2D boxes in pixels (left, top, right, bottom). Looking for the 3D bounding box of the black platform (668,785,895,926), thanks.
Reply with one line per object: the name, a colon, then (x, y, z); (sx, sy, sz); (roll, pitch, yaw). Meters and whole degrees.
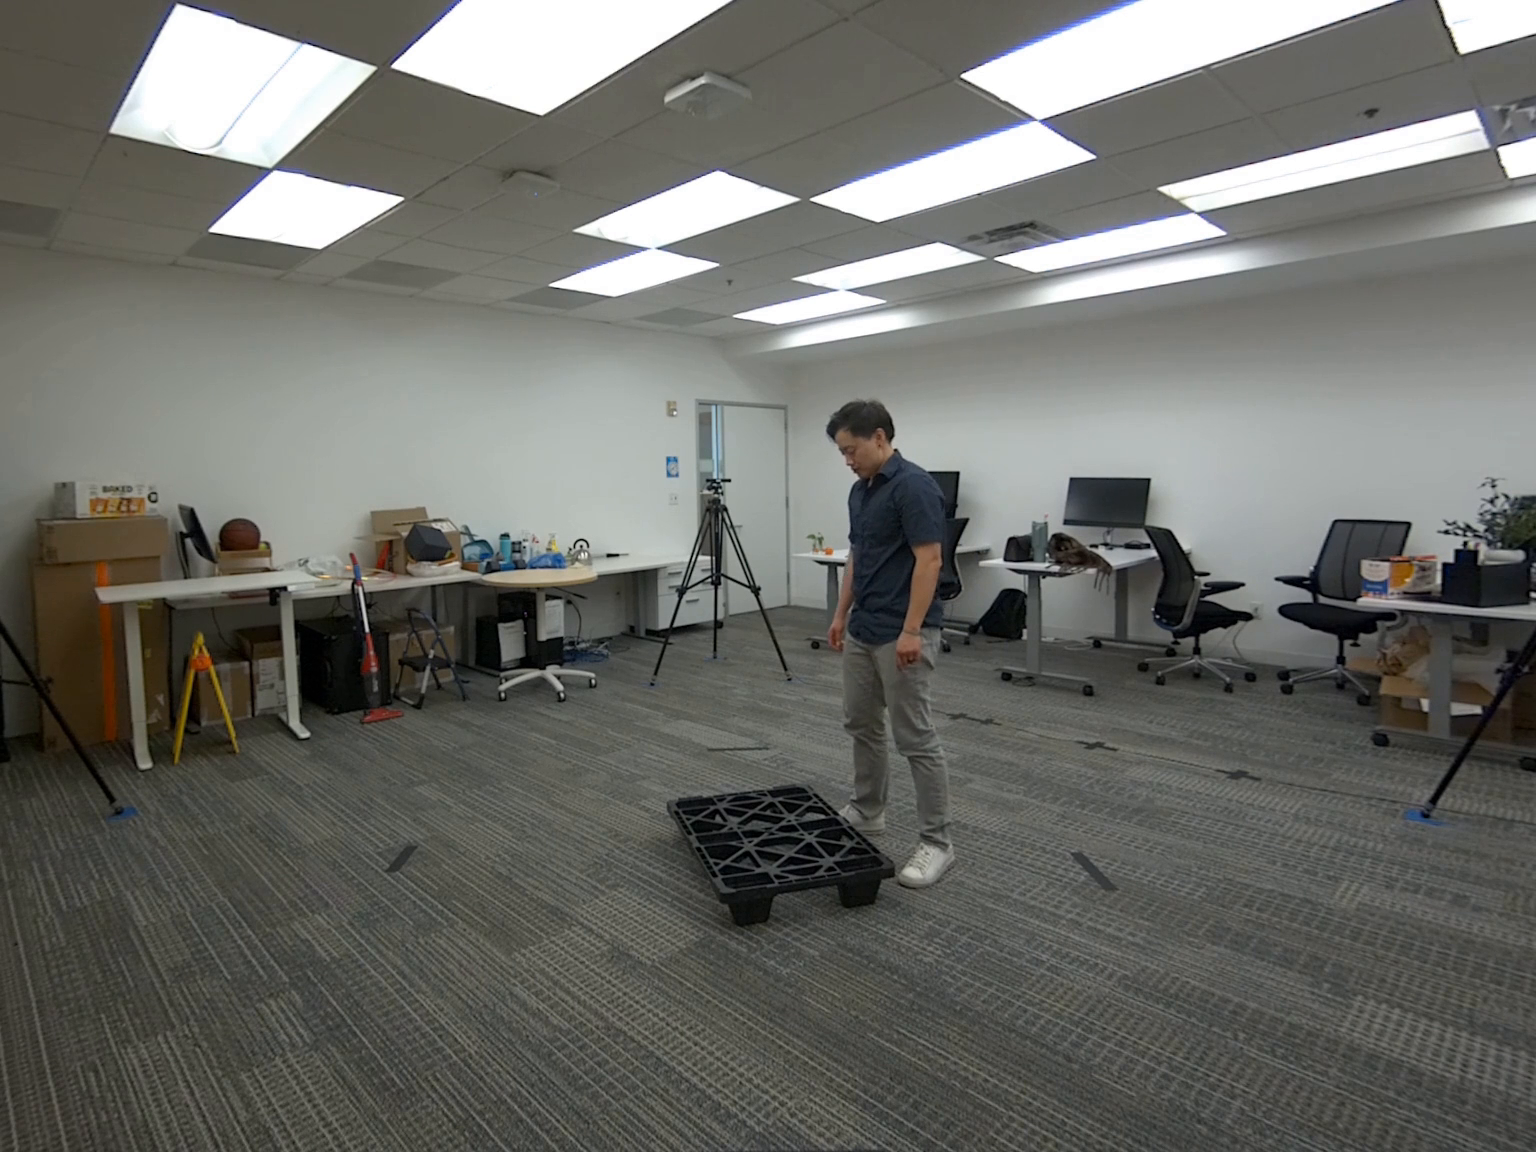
black platform: (0.008, 0.980, 3.073); (0.596, 0.143, 0.821); (-4, 6, -18)
